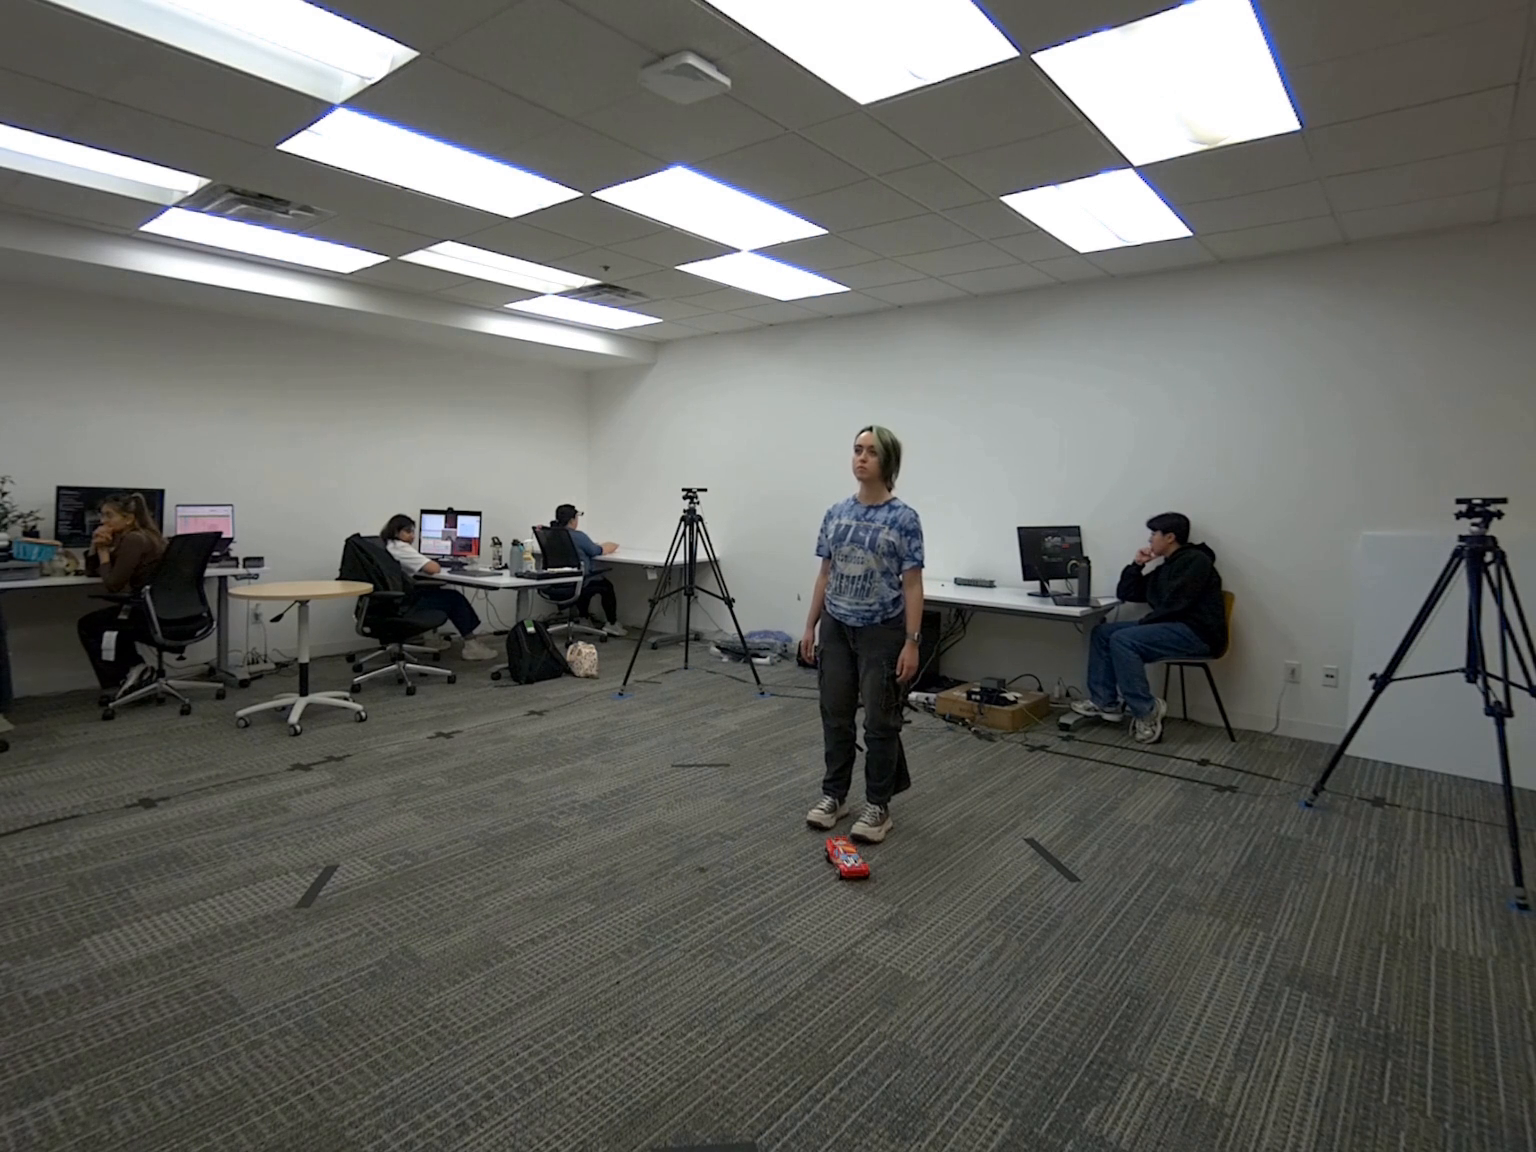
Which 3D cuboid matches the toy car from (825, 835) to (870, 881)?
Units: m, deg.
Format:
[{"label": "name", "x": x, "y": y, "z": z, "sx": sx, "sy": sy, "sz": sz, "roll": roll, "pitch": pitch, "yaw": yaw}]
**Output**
[{"label": "toy car", "x": 0.282, "y": 1.045, "z": 3.155, "sx": 0.129, "sy": 0.082, "sz": 0.261, "roll": -1, "pitch": 17, "yaw": -11}]
